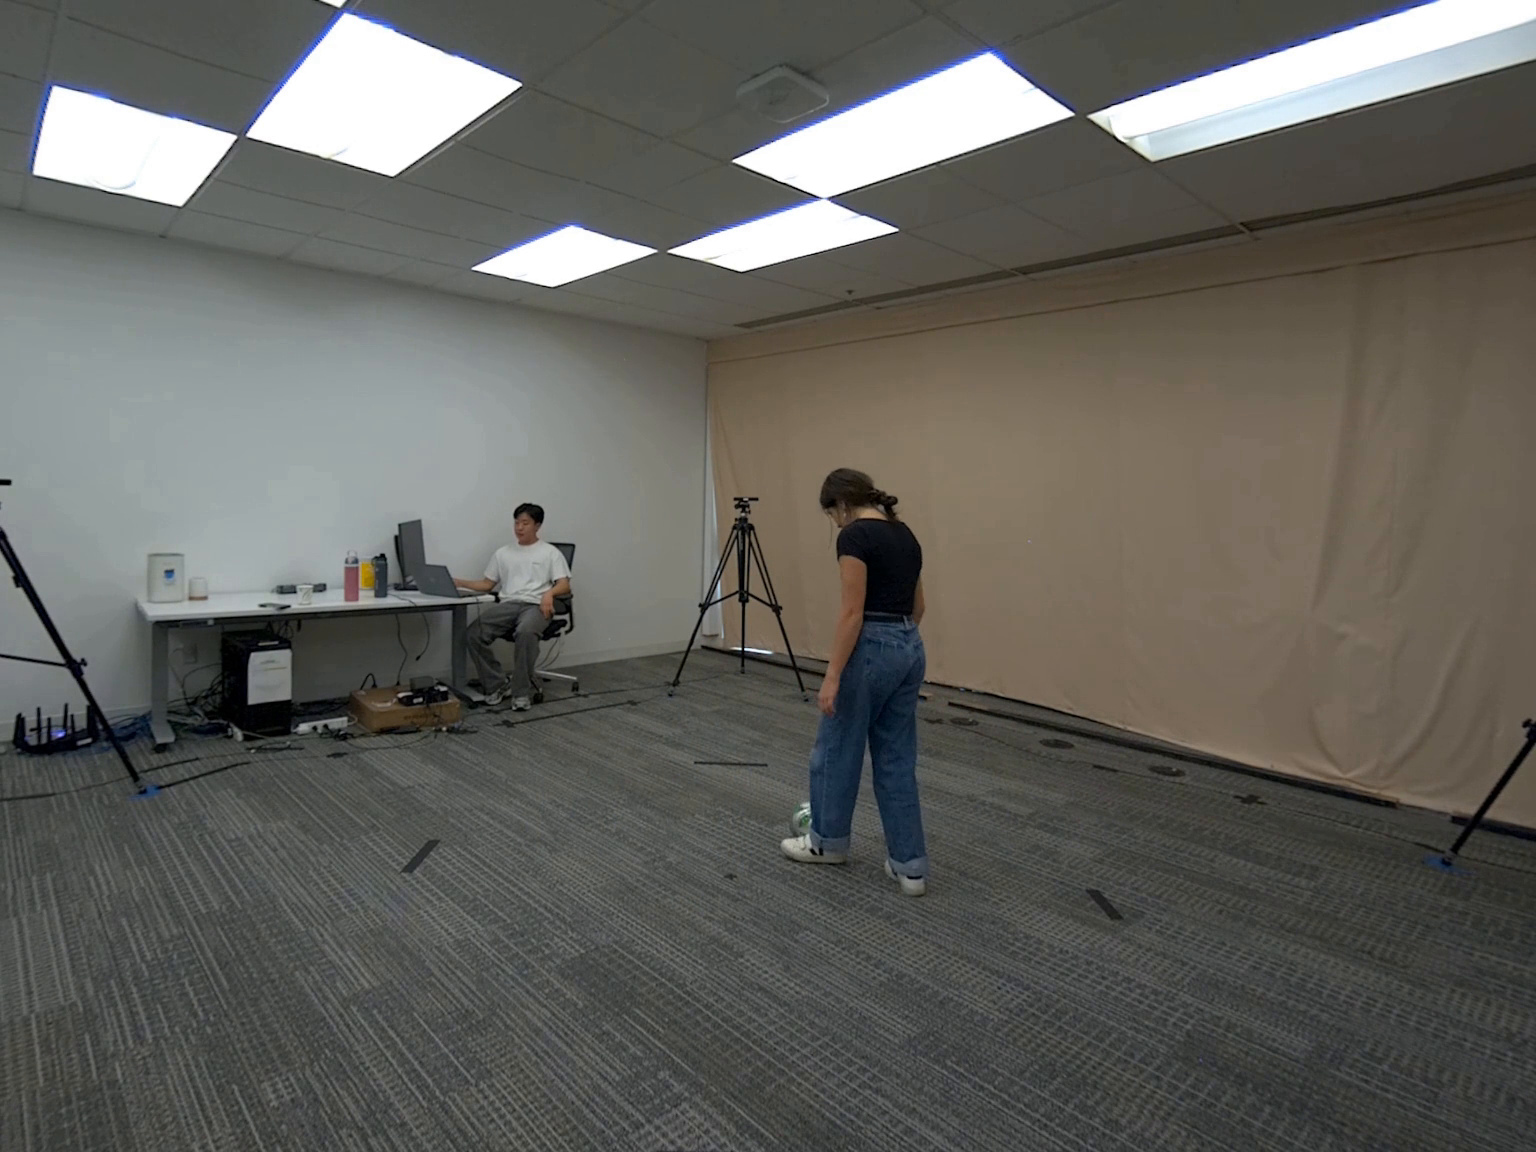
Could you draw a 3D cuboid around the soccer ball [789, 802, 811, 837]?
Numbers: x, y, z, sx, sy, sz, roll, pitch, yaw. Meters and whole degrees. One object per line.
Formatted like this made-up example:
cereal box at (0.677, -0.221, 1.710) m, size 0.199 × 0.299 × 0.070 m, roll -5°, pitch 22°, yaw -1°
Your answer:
soccer ball at (0.172, 1.001, 3.386) m, size 0.187 × 0.187 × 0.188 m, roll 1°, pitch 4°, yaw -1°
